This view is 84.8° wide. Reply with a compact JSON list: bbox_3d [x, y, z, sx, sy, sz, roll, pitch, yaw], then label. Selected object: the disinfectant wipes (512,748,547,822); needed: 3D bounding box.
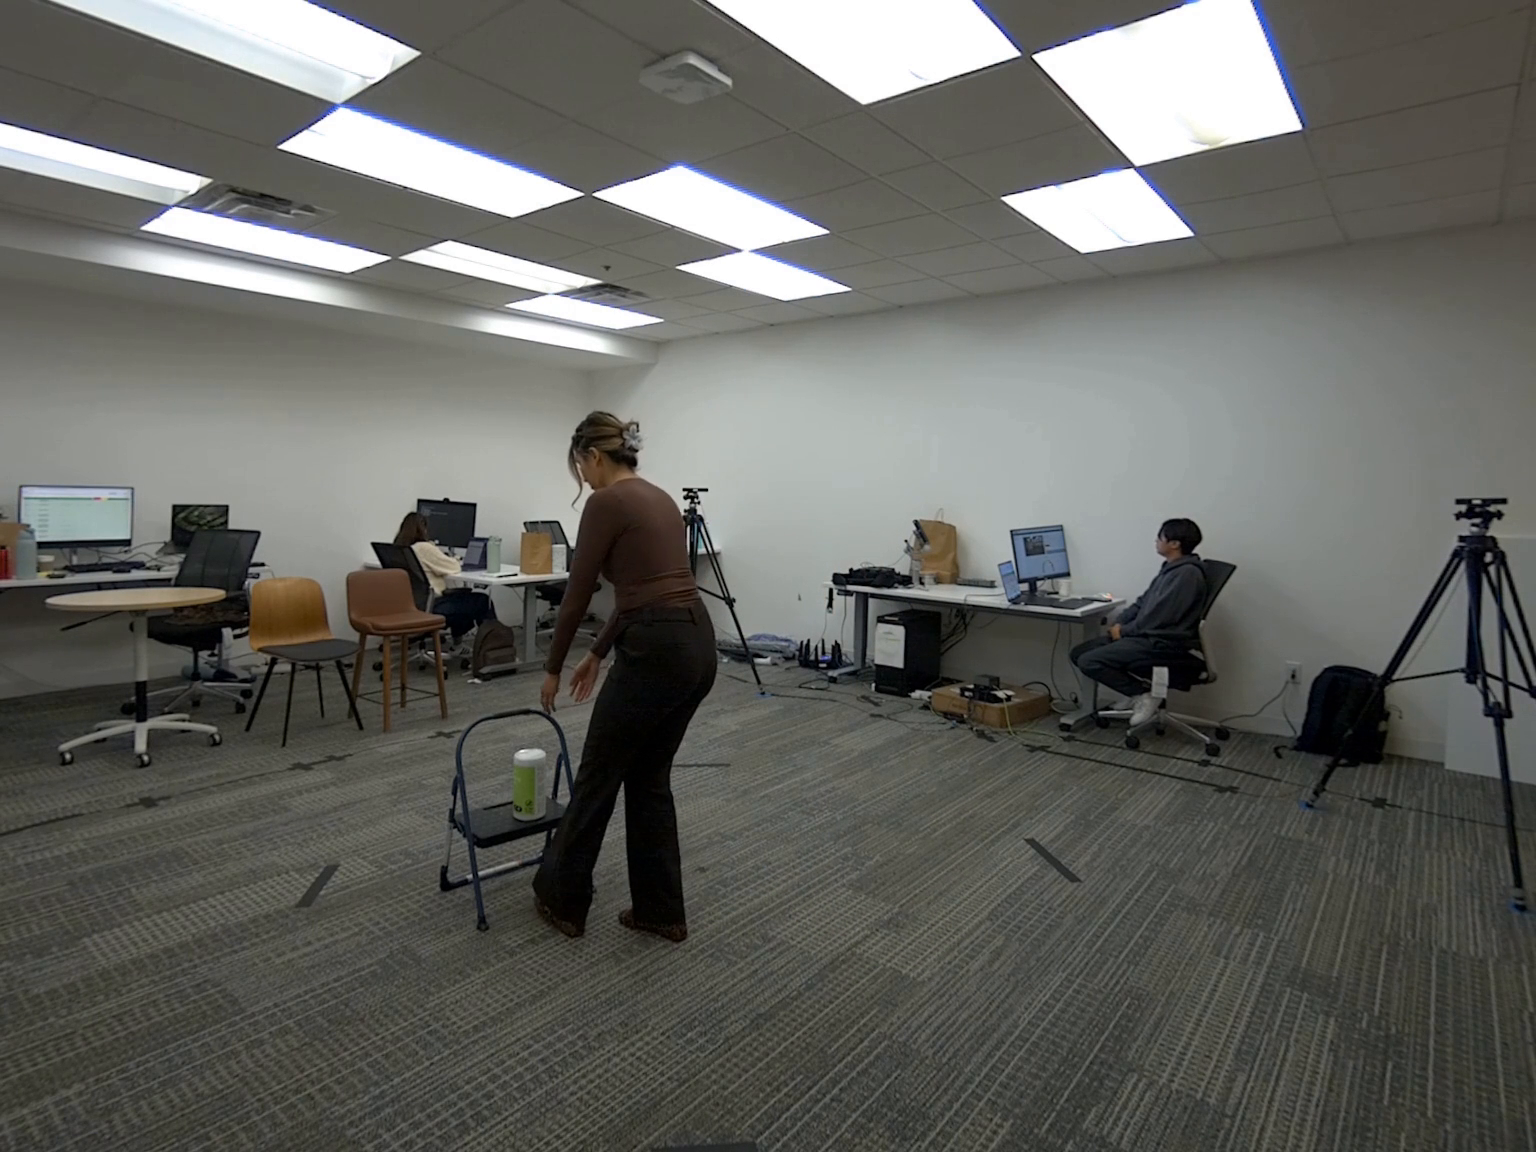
[{"bbox_3d":[-0.830,0.713,2.910,0.118,0.216,0.118,1,6,-2],"label":"disinfectant wipes"}]
